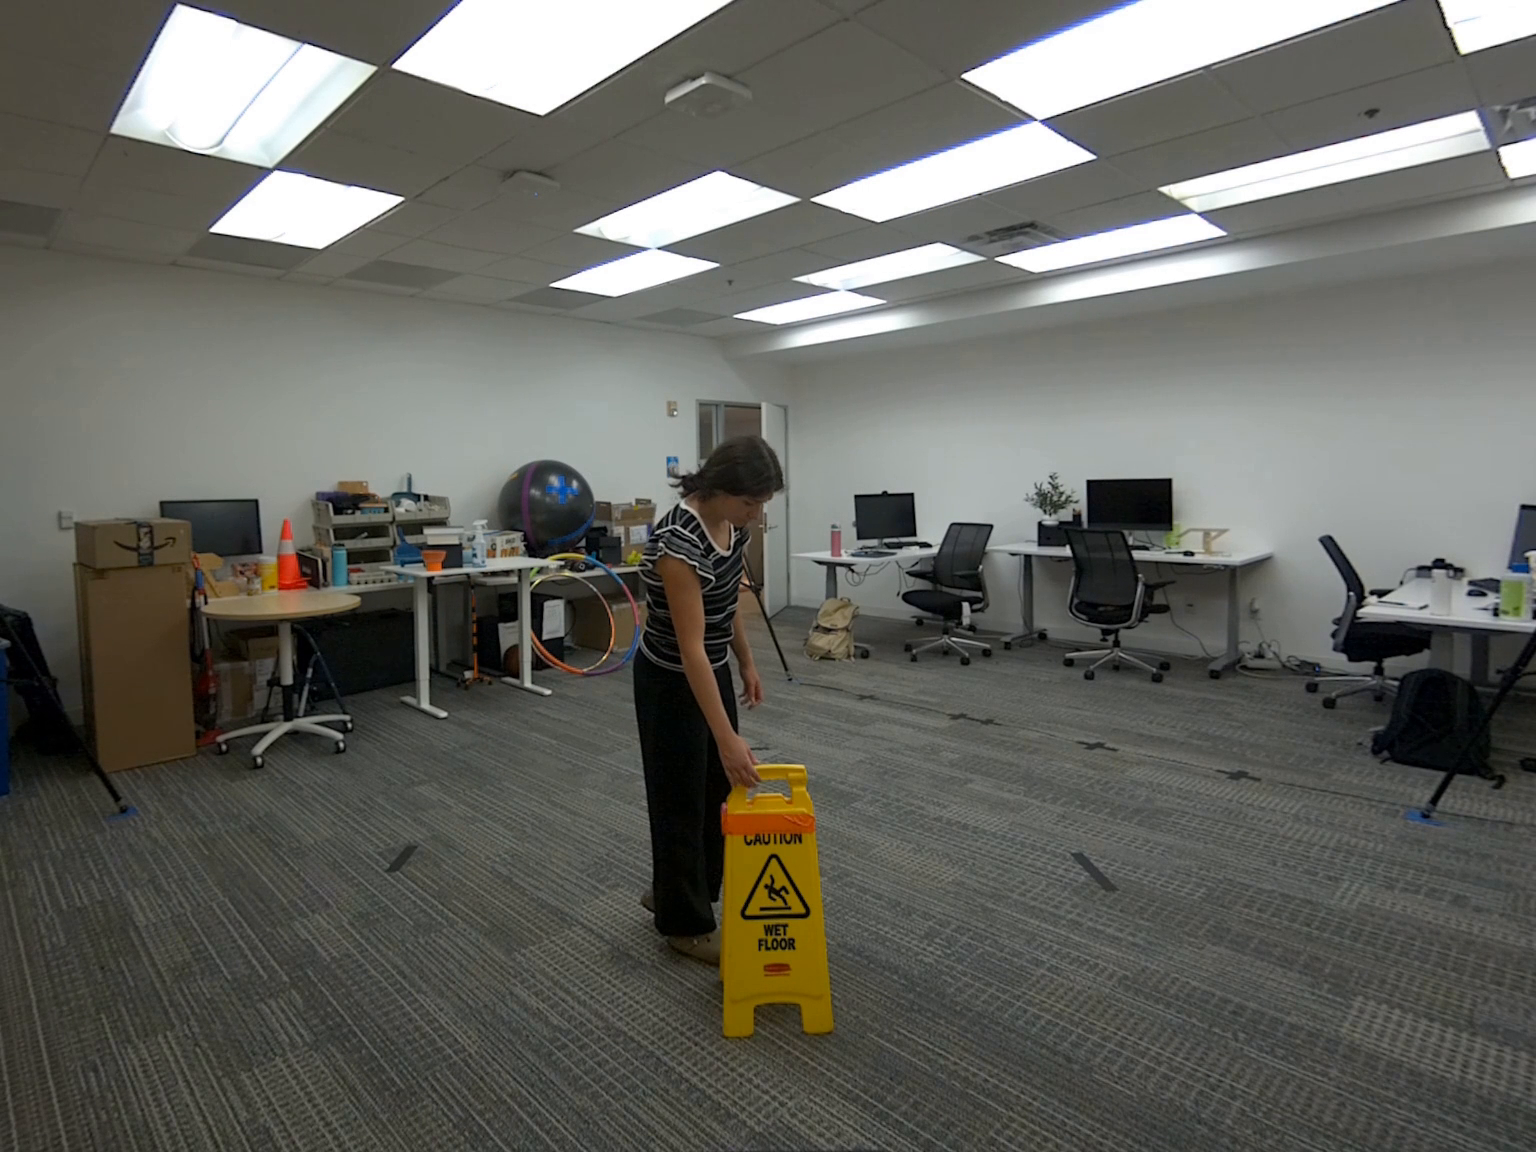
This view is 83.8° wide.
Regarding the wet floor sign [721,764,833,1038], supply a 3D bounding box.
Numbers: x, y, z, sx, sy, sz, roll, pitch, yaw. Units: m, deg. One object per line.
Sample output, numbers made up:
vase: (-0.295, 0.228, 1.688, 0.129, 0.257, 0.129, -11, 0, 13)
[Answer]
wet floor sign: (0.009, 0.817, 2.249, 0.282, 0.643, 0.291, -2, 4, -3)
